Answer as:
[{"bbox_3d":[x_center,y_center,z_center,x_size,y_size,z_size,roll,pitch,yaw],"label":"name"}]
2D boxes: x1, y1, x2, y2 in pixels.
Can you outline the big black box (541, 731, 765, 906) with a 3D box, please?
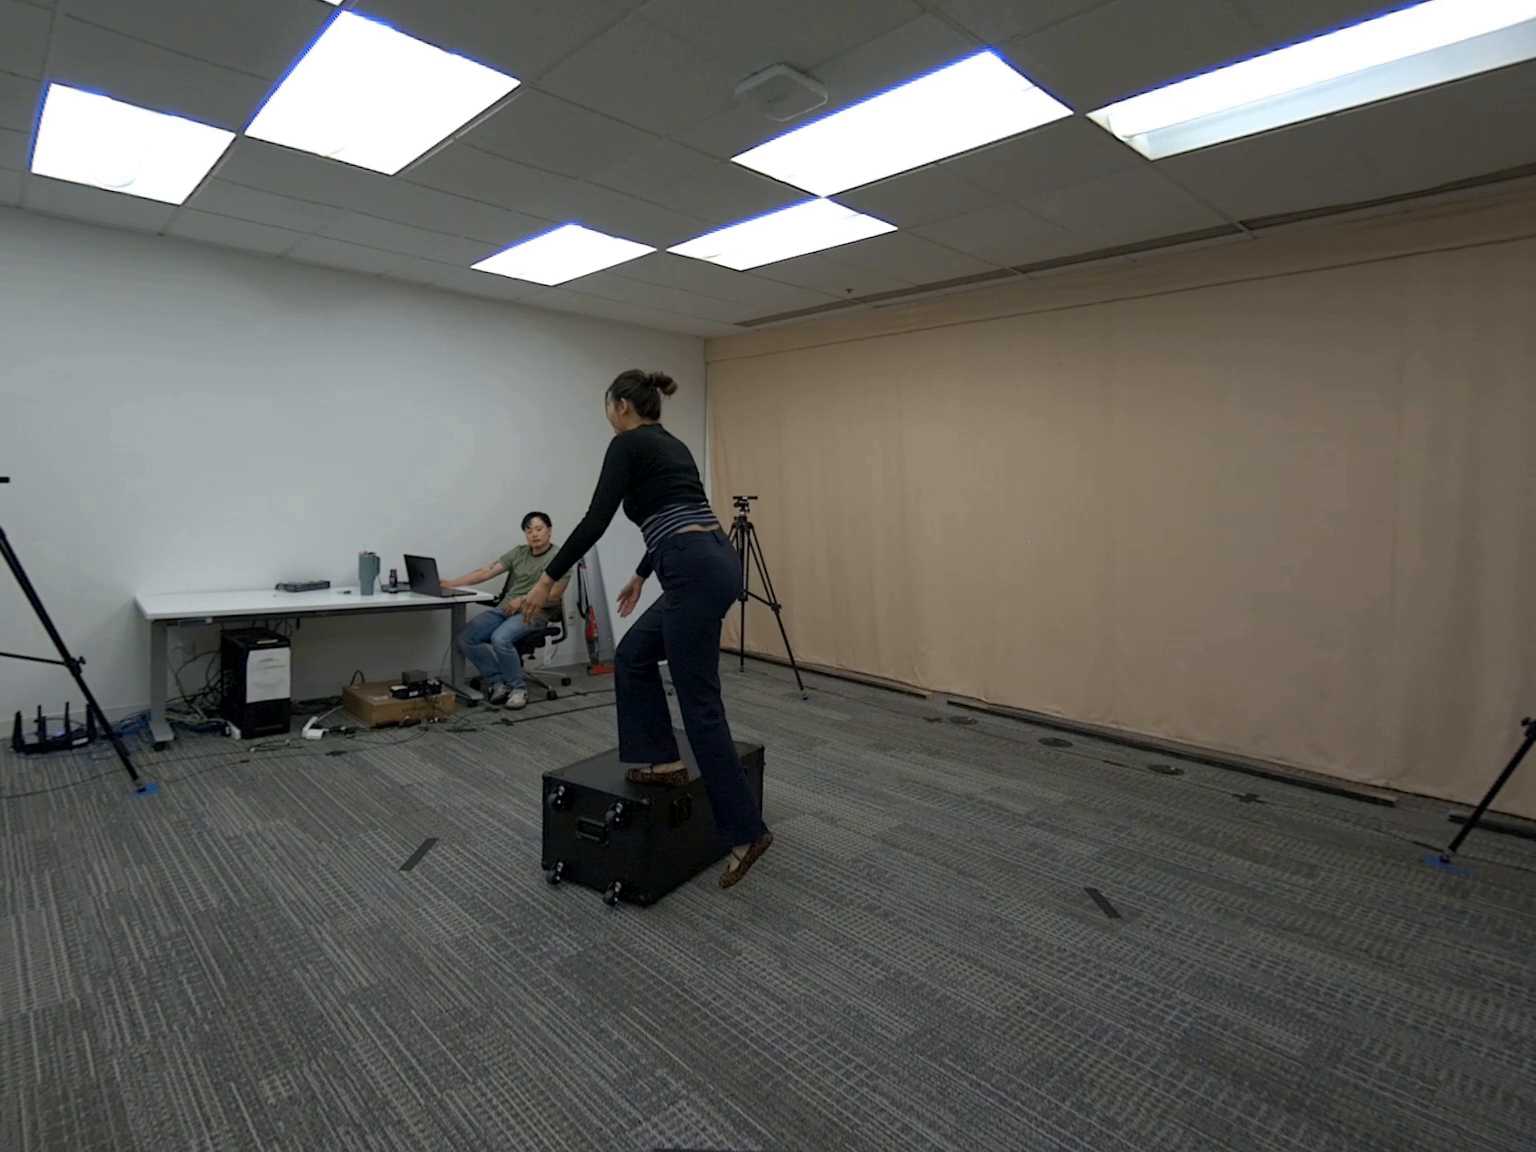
[{"bbox_3d":[-0.445,0.897,3.232,0.533,0.395,0.845,5,6,30],"label":"big black box"}]
